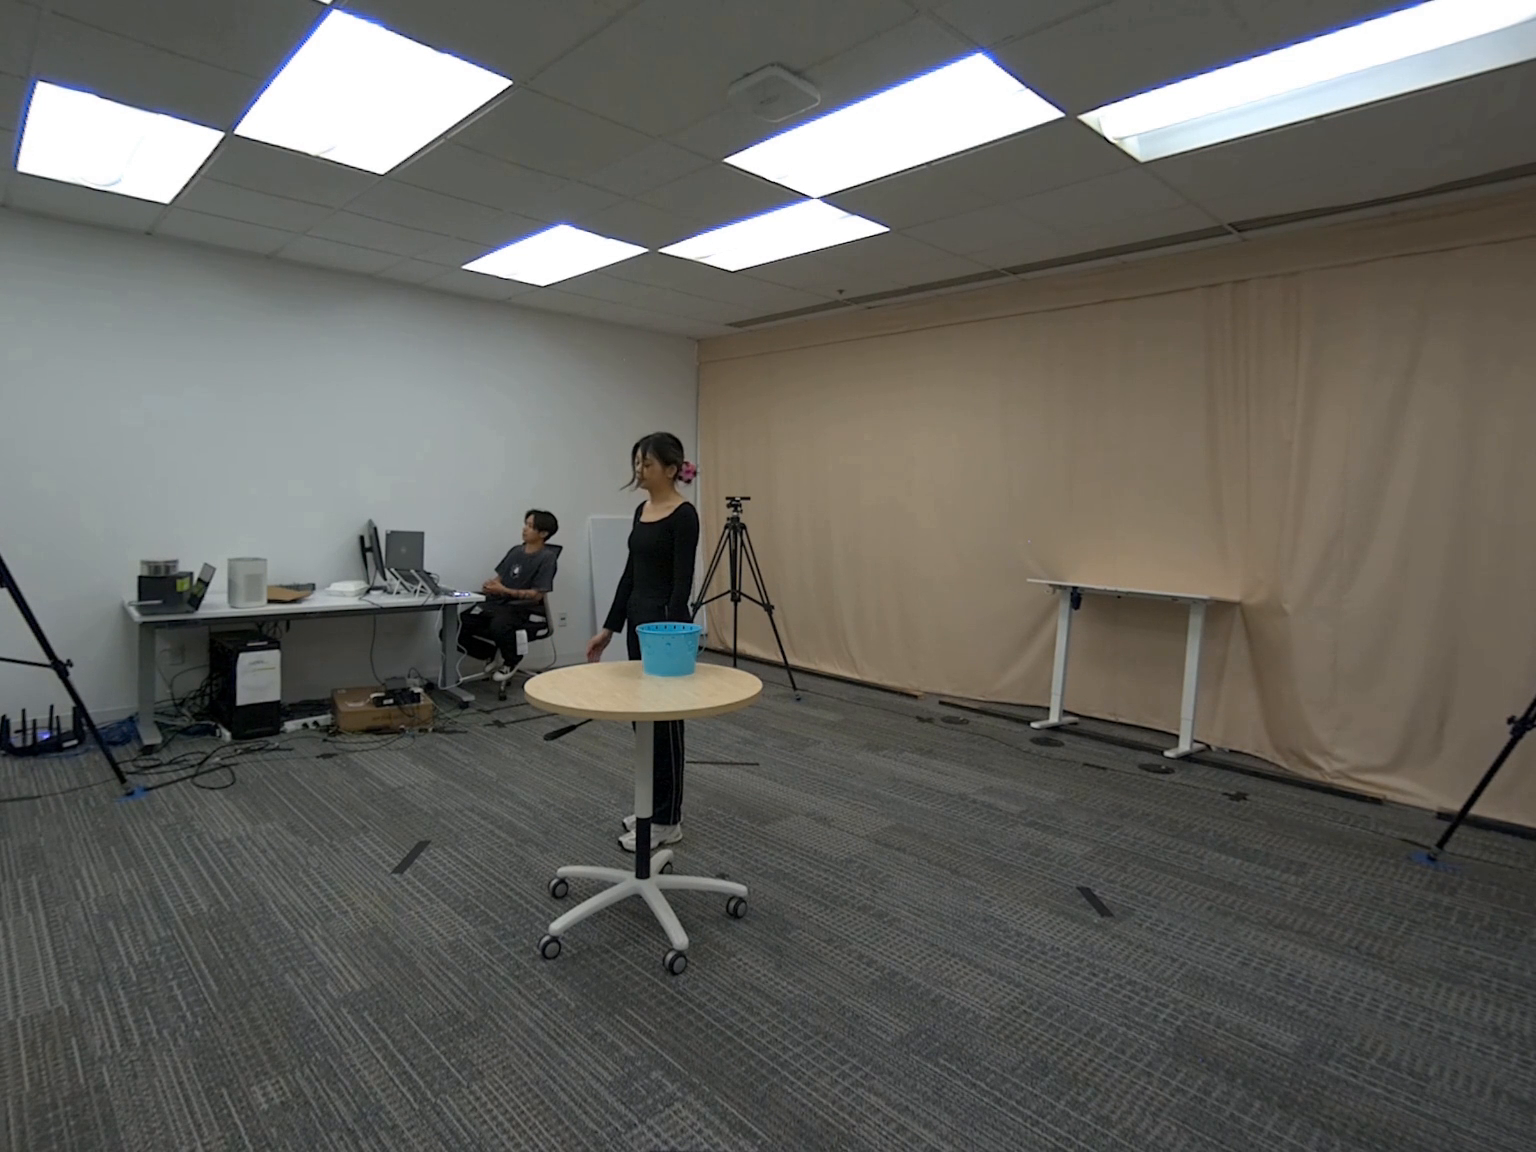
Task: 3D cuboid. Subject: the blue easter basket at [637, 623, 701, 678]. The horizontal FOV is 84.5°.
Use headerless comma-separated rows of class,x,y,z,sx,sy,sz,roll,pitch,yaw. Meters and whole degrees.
blue easter basket,-0.353,0.259,2.933,0.243,0.155,0.244,-1,5,-1
